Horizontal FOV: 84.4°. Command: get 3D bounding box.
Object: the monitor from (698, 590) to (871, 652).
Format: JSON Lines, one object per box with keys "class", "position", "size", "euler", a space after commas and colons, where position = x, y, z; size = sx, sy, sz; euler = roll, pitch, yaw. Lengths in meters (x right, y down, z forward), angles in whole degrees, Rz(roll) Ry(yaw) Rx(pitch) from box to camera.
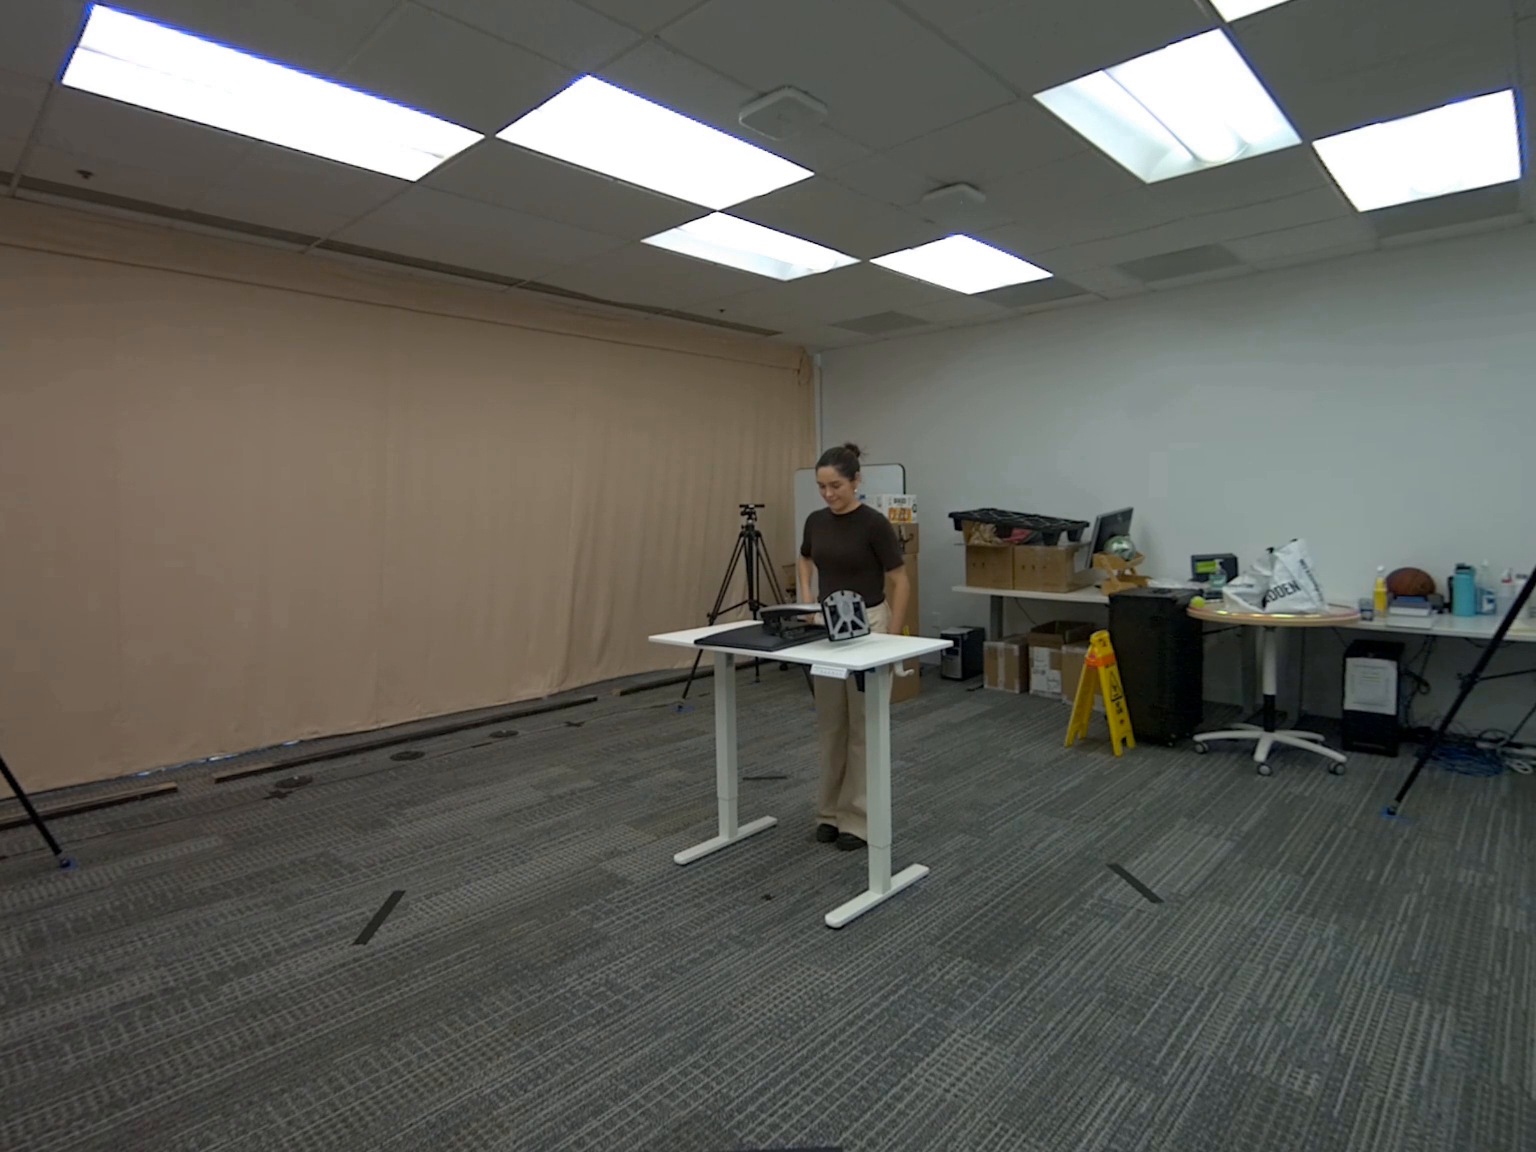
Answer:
{"class": "monitor", "position": [0.088, 0.187, 3.156], "size": [0.536, 0.188, 0.523], "euler": [-13, -6, 38]}
